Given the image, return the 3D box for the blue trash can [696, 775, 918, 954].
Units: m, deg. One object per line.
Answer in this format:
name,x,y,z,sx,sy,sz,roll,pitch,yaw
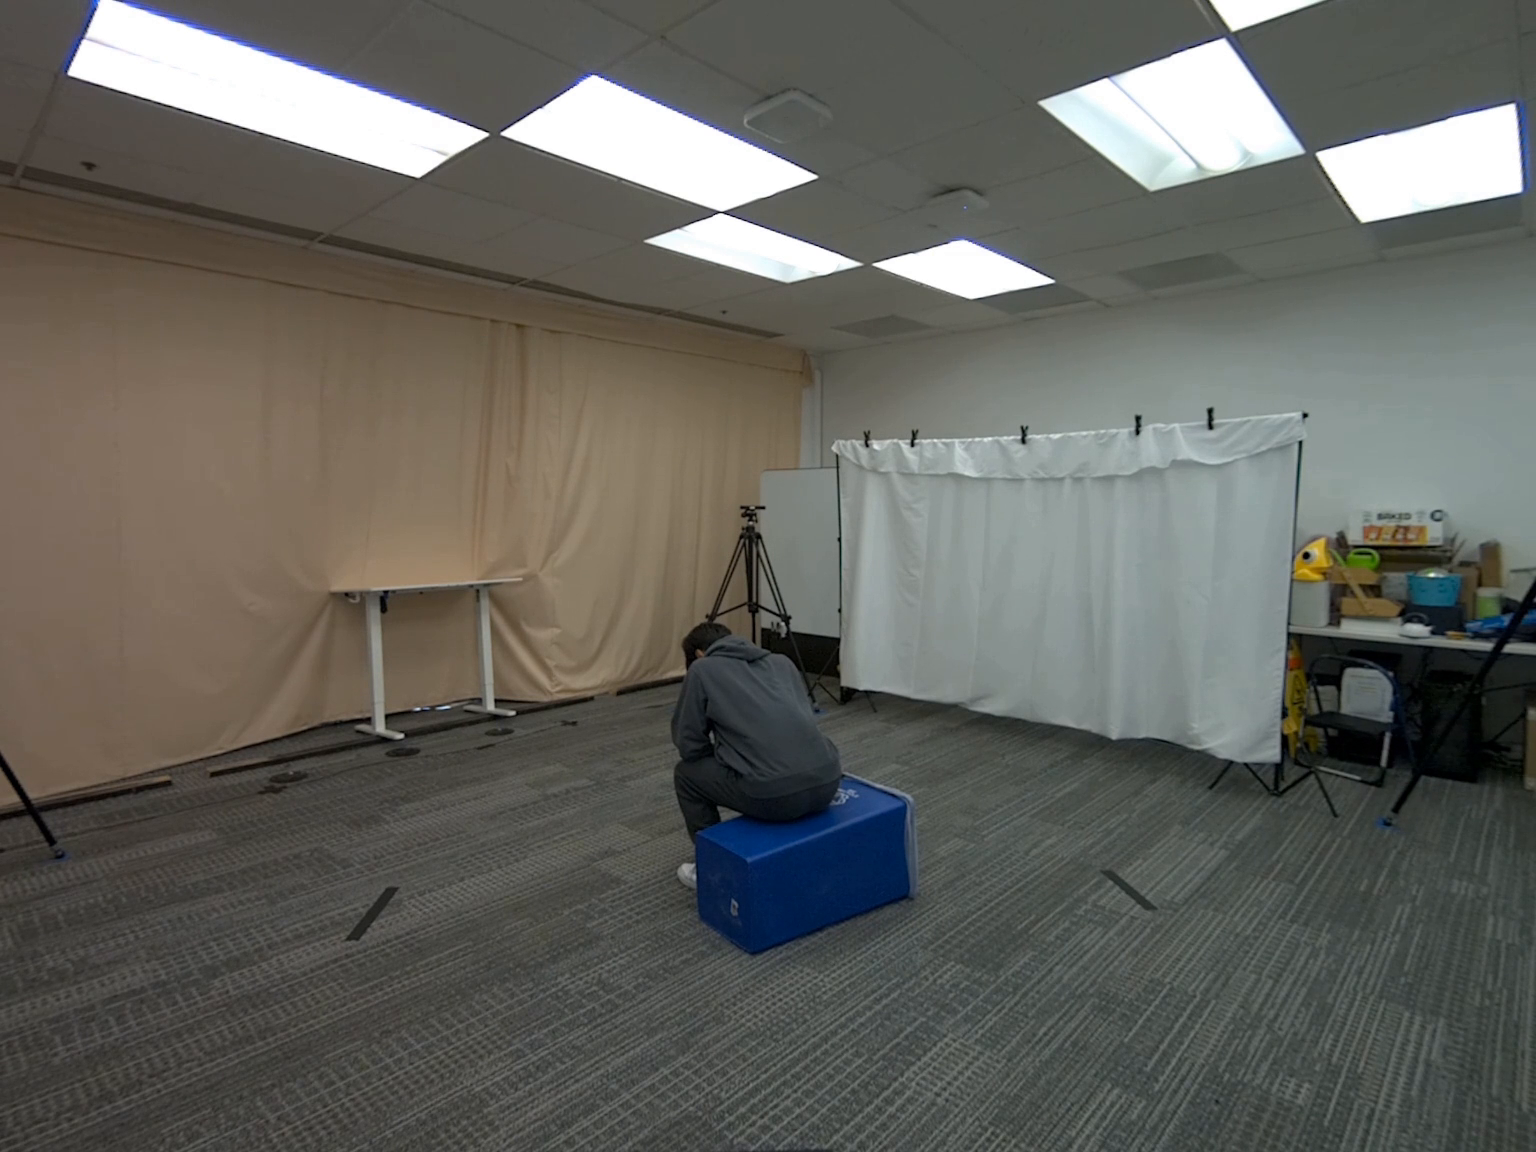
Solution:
blue trash can,0.144,0.982,2.901,0.693,0.377,0.386,-8,7,-37
